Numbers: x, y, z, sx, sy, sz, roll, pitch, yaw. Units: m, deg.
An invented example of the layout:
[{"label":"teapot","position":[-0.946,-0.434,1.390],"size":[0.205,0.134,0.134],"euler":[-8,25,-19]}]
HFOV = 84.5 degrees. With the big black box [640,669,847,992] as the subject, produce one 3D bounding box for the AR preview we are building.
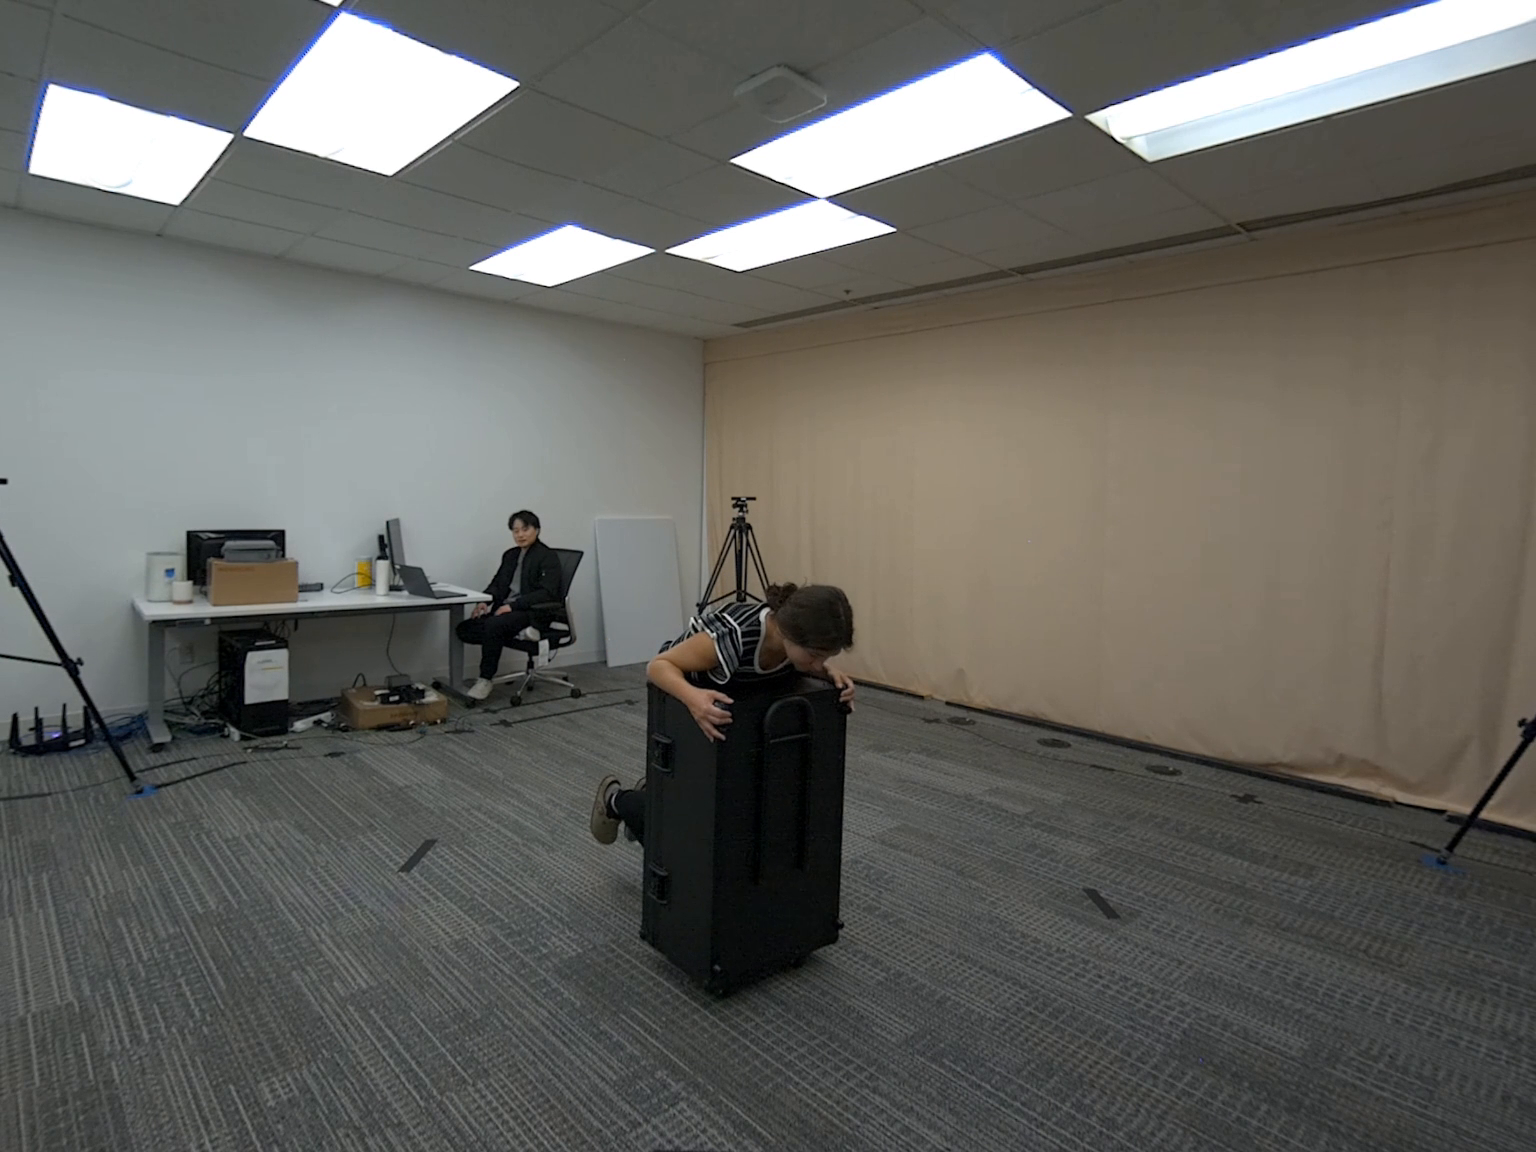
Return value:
[{"label":"big black box","position":[-0.068,0.752,2.497],"size":[0.509,0.859,0.406],"euler":[-1,6,-39]}]
